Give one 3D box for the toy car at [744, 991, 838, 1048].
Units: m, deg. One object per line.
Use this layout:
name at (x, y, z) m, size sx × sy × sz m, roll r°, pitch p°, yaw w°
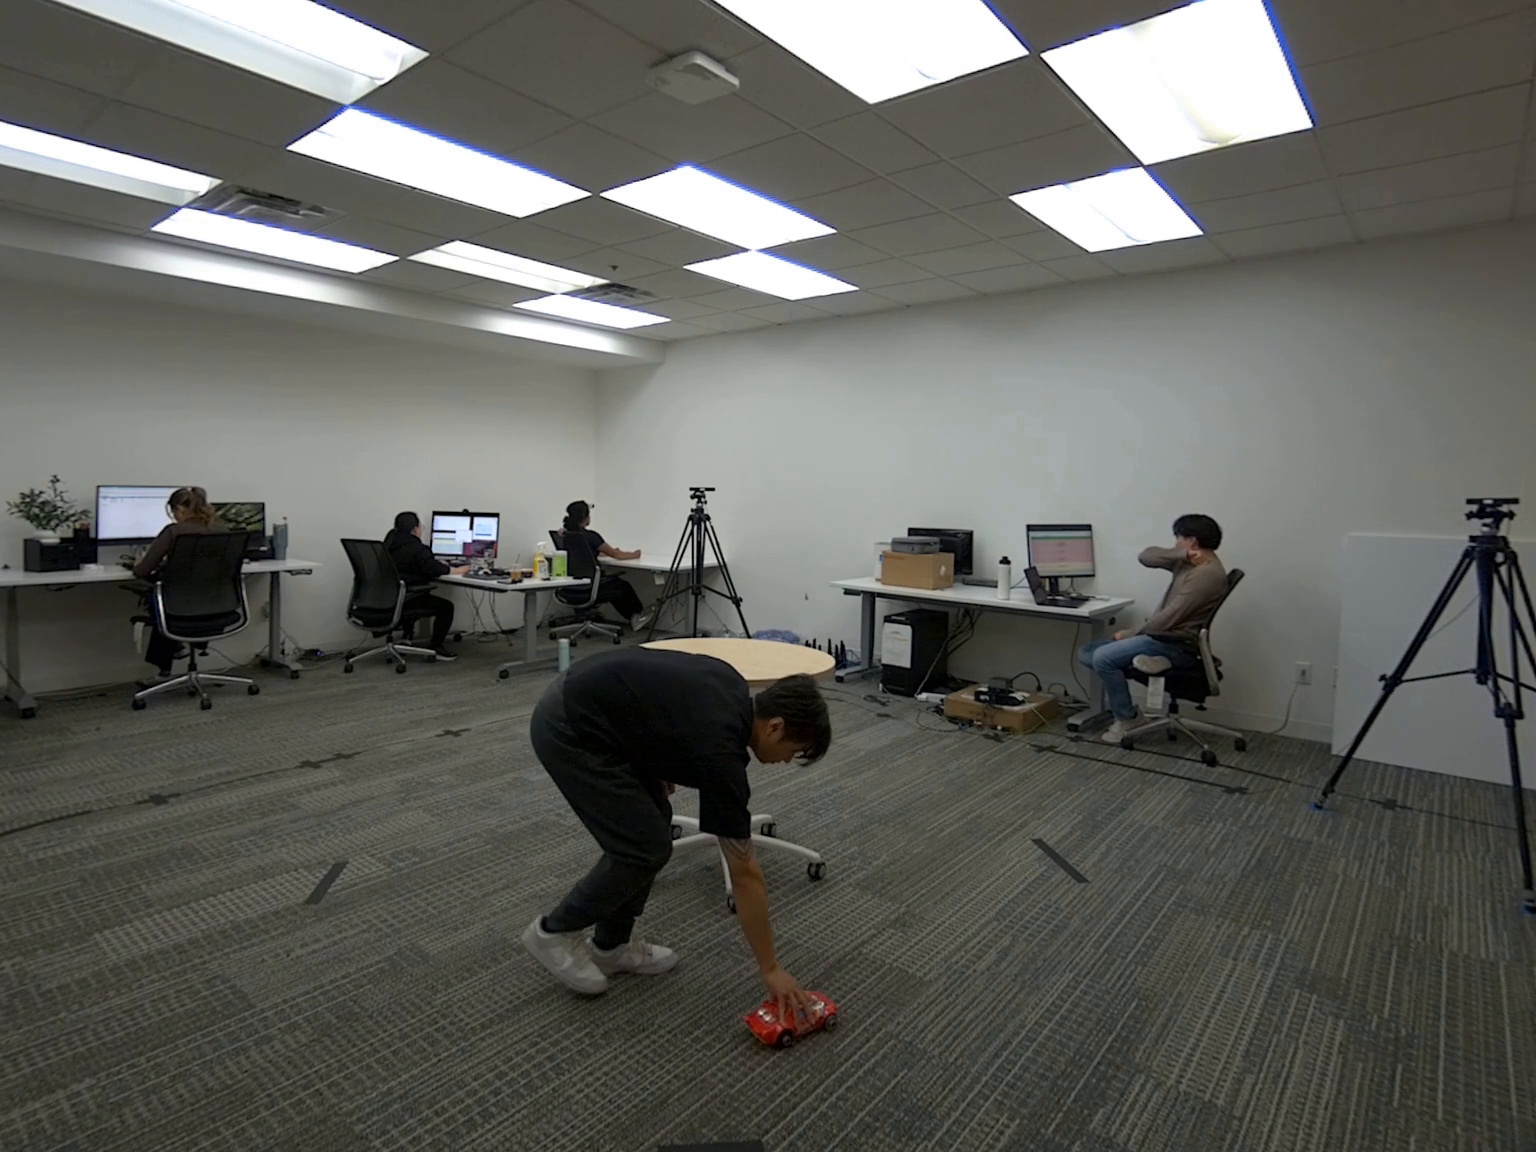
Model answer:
toy car at (0.052, 1.137, 2.189) m, size 0.246 × 0.083 × 0.134 m, roll 10°, pitch 0°, yaw -32°
